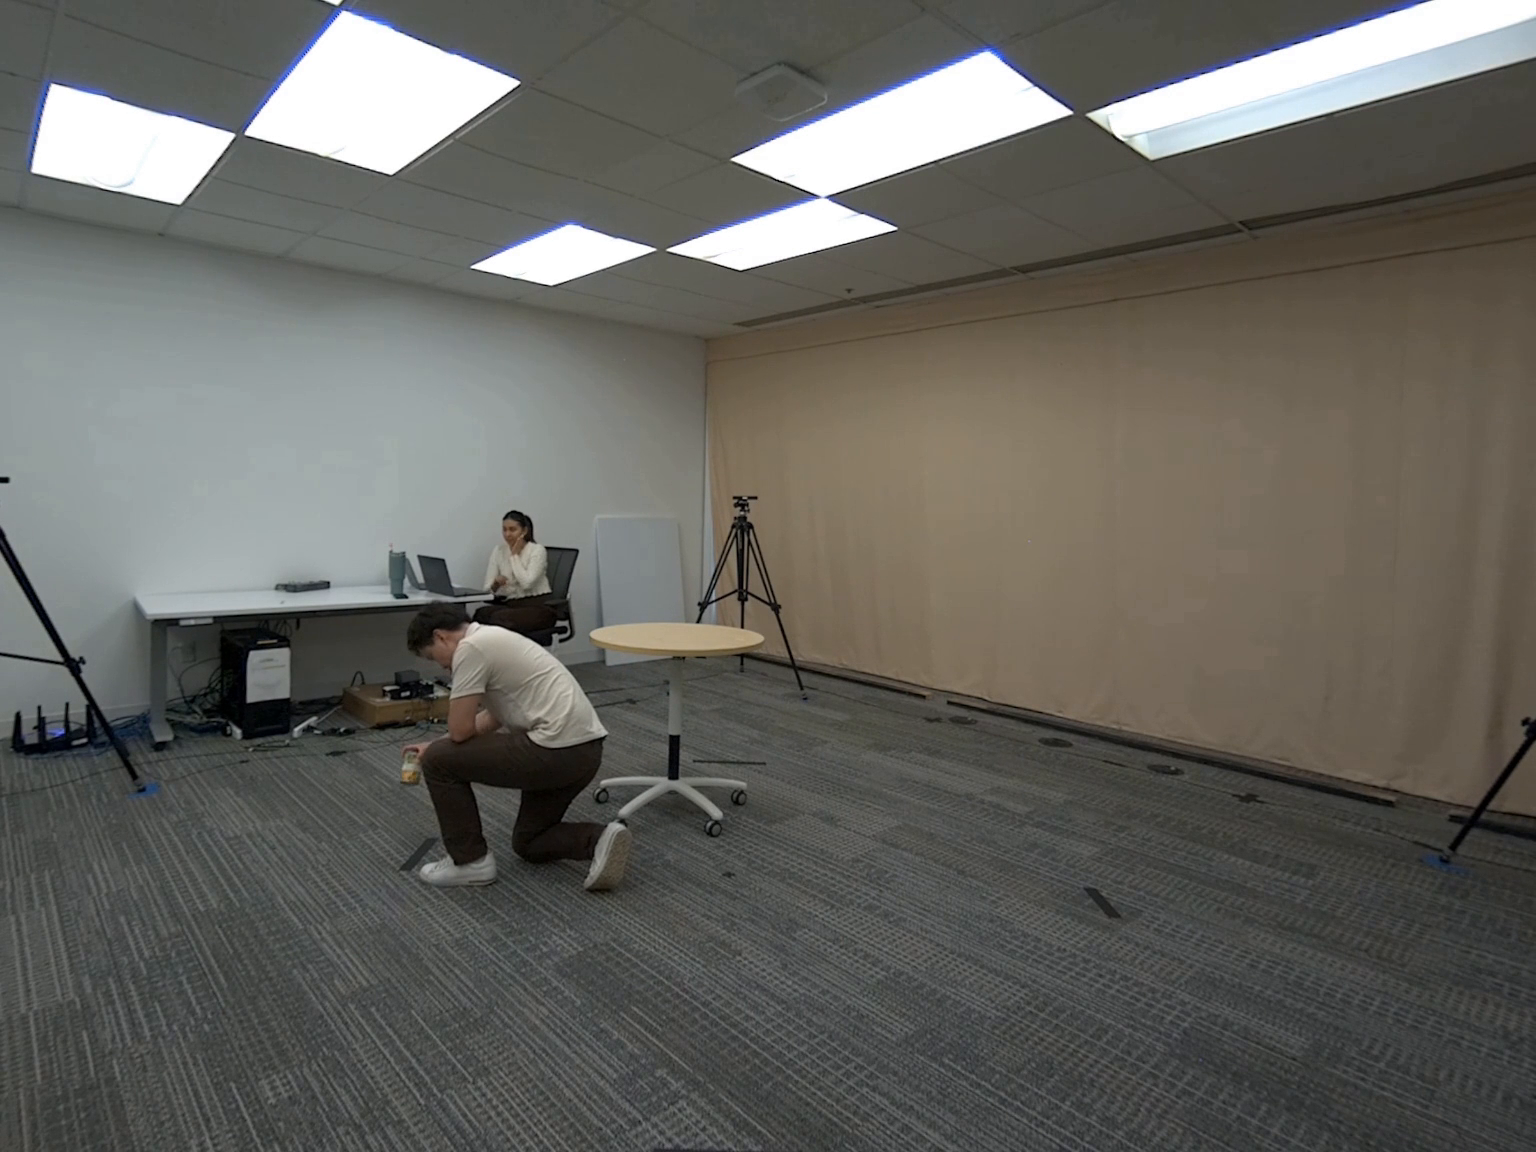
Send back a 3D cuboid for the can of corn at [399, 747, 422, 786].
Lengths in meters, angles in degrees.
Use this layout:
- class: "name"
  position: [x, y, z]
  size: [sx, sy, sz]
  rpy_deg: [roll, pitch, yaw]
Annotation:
- class: "can of corn"
  position: [-1.379, 0.758, 3.285]
  size: [0.074, 0.113, 0.073]
  rpy_deg: [0, -22, -1]
